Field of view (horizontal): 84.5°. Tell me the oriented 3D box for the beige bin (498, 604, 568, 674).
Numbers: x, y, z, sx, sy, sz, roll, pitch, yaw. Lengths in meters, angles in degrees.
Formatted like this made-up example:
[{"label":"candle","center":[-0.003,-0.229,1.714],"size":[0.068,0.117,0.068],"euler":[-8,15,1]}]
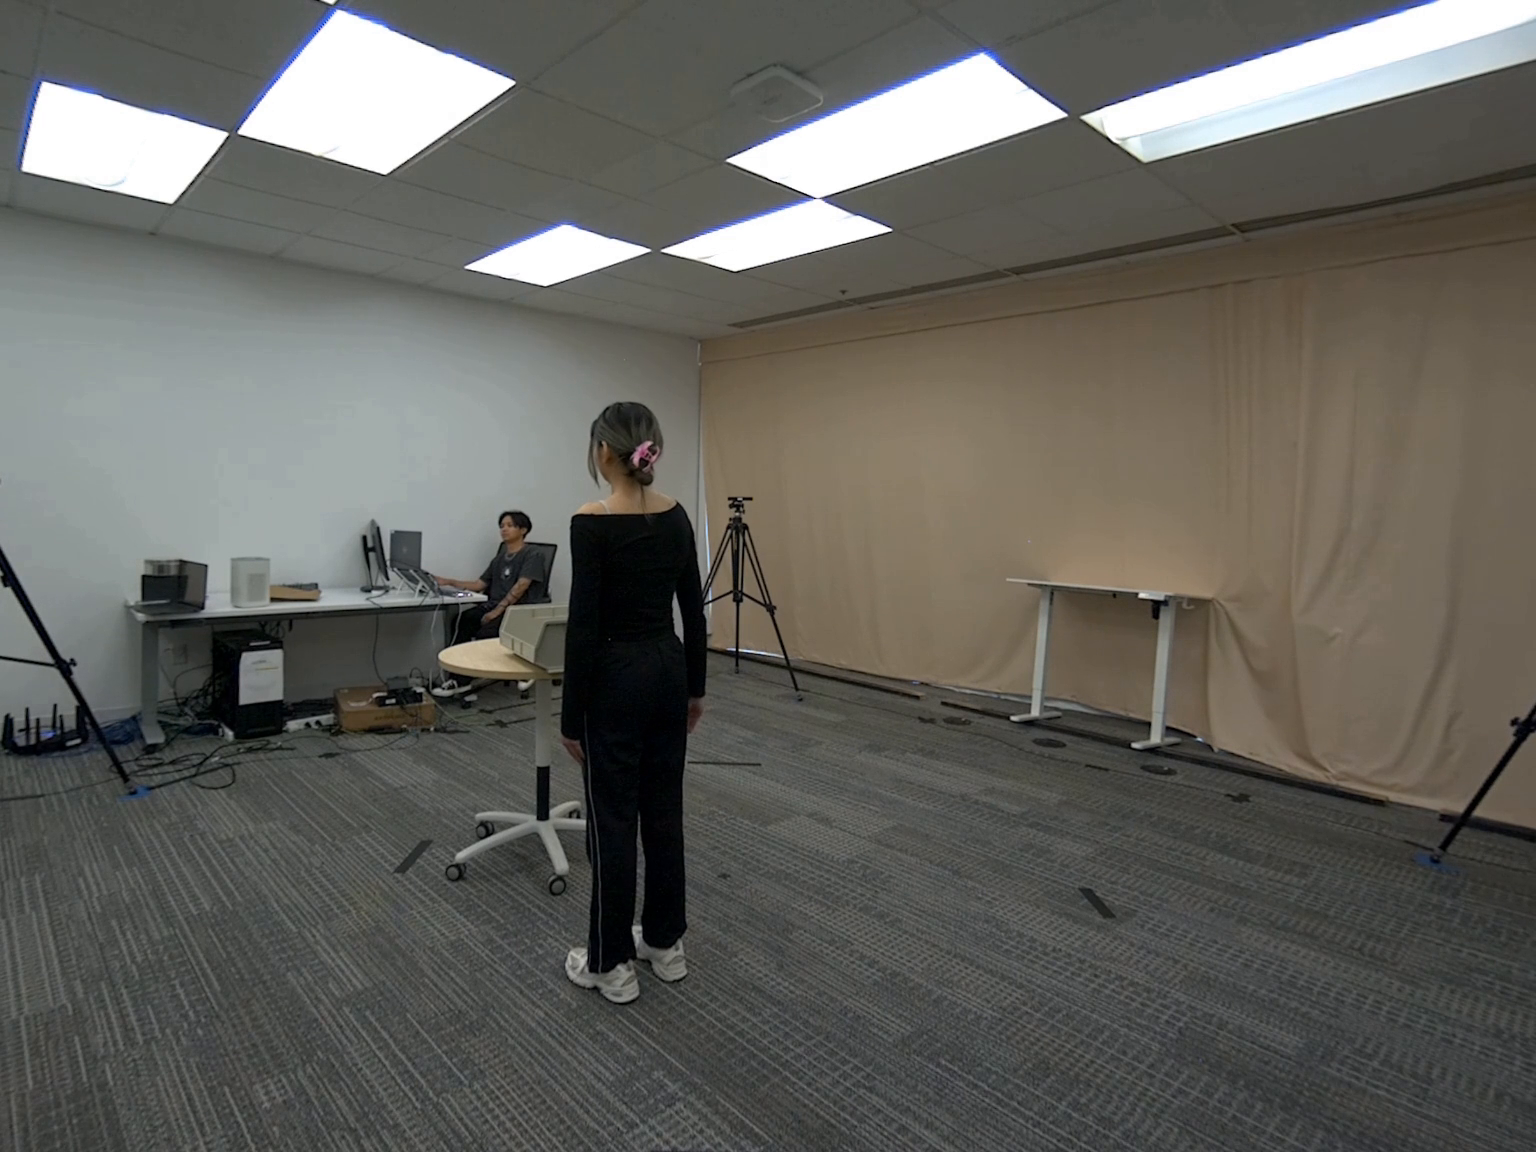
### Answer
[{"label":"beige bin","center":[-0.734,0.216,3.046],"size":[0.369,0.188,0.432],"euler":[-1,4,-33]}]
